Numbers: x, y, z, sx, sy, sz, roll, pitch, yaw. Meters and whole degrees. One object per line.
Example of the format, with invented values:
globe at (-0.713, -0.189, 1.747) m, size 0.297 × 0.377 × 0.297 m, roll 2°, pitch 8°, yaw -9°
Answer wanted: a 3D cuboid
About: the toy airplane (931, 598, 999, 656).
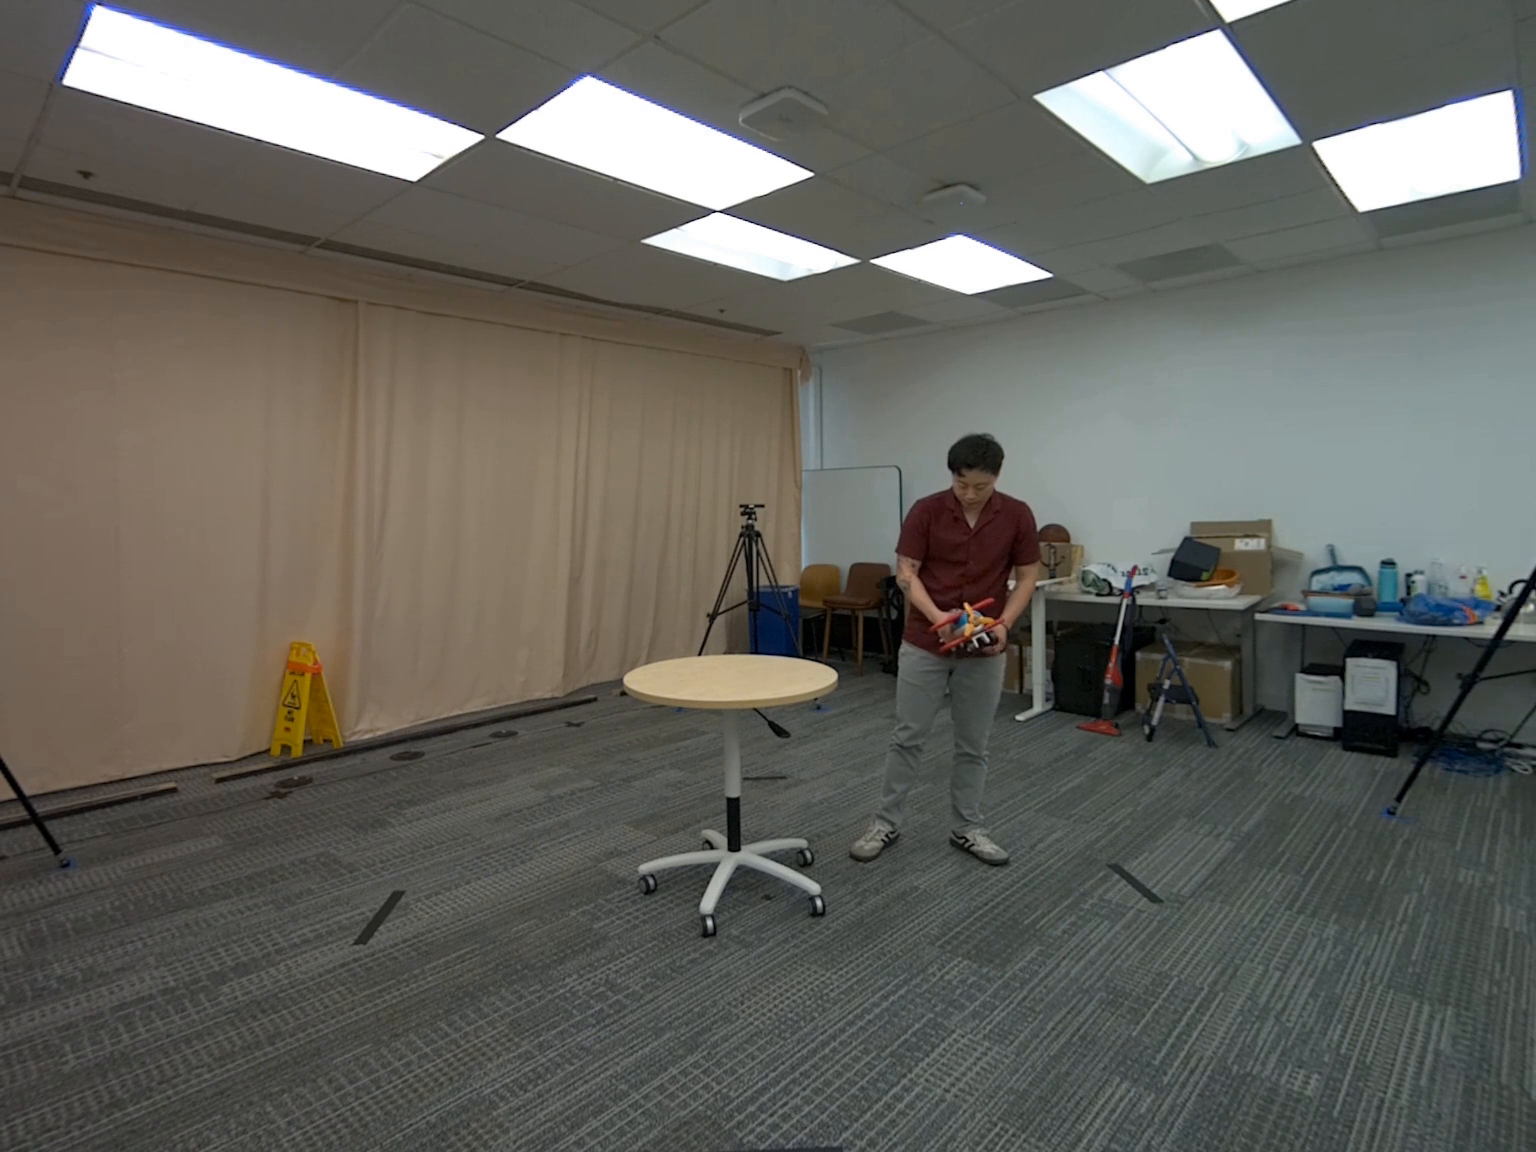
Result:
toy airplane at (0.705, 0.202, 3.036) m, size 0.245 × 0.156 × 0.265 m, roll -24°, pitch 1°, yaw -41°
